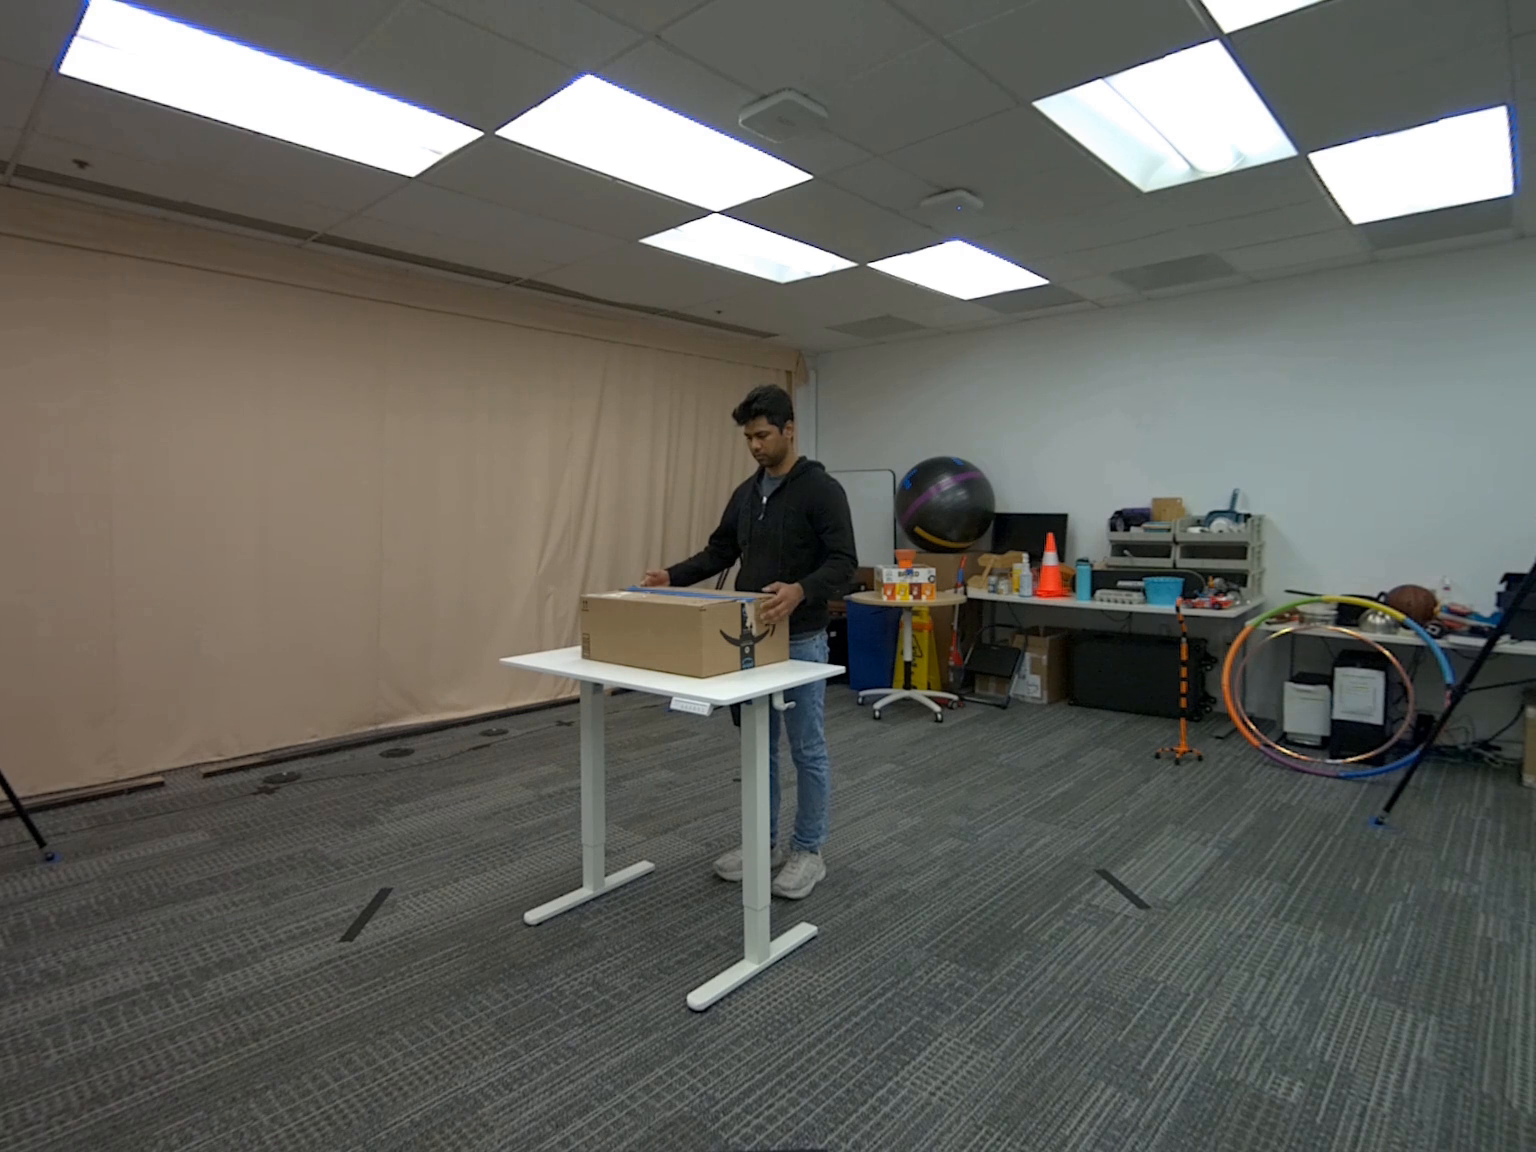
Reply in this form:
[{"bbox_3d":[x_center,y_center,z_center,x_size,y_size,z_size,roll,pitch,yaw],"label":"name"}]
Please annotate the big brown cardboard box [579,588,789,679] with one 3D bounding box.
[{"bbox_3d":[-0.284,0.169,2.810,0.609,0.232,0.405,5,6,40],"label":"big brown cardboard box"}]
